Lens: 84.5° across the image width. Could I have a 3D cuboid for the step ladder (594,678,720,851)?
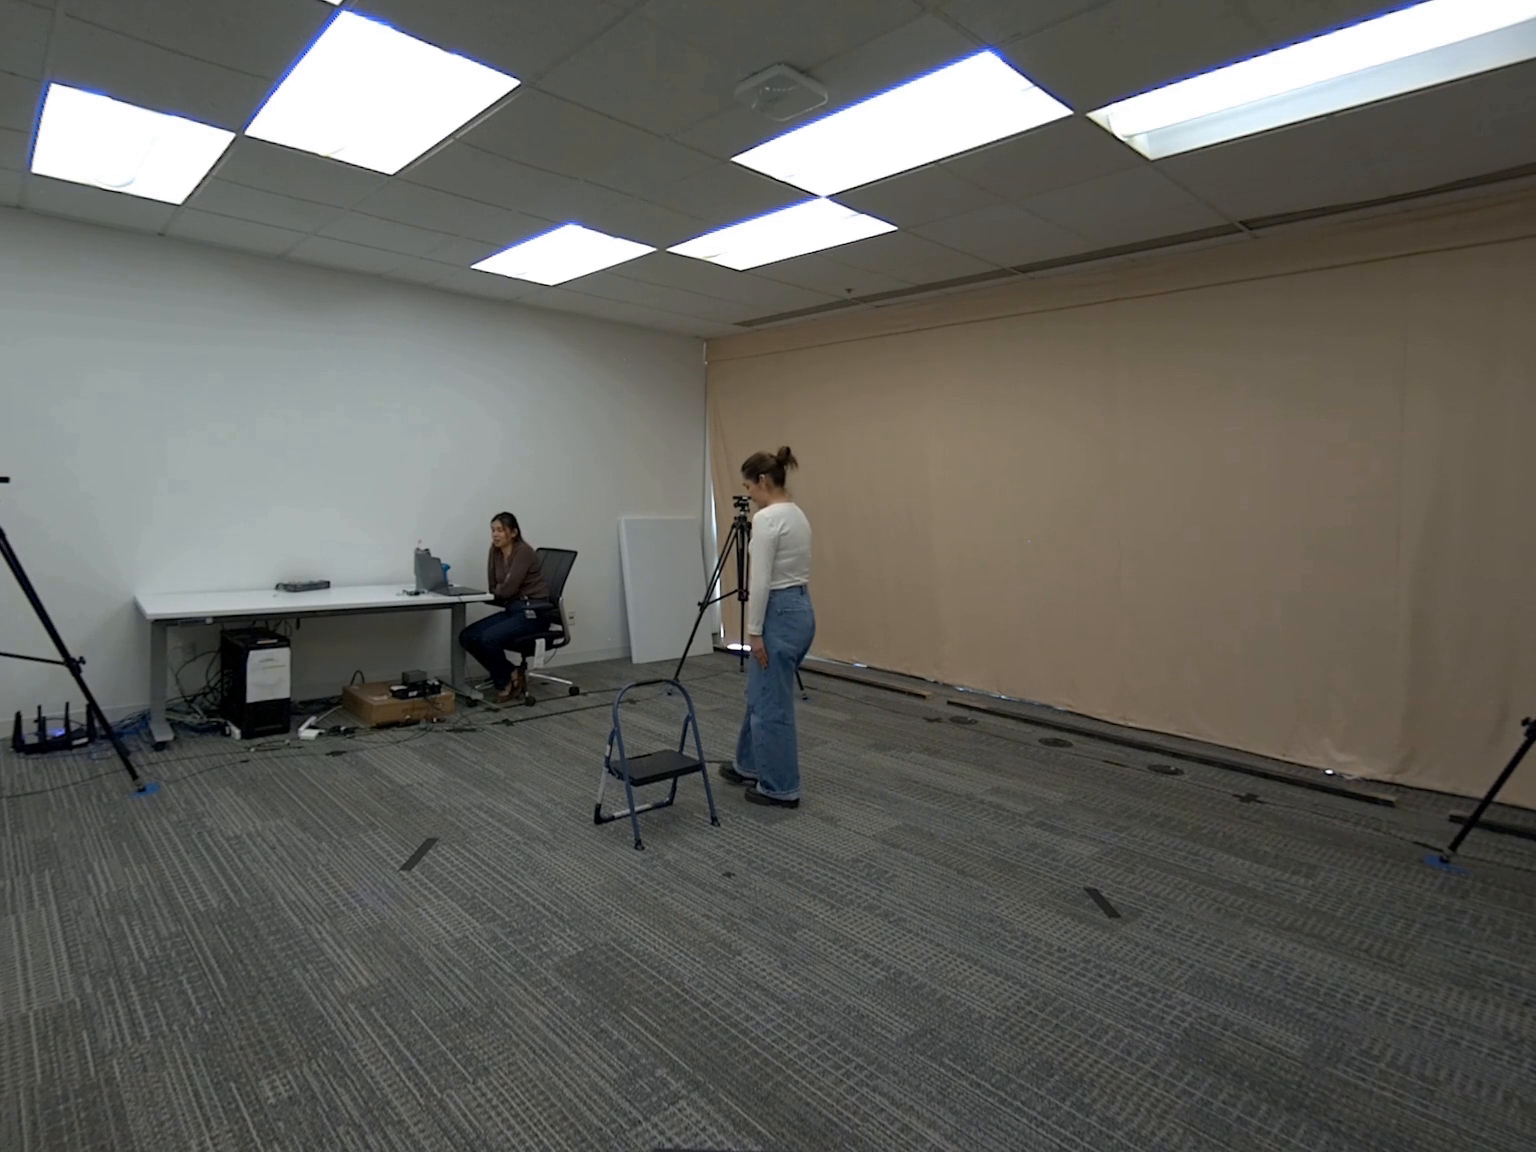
[{"bbox_3d":[-0.472,0.753,3.552,0.421,0.605,0.358,-2,5,-44],"label":"step ladder"}]
